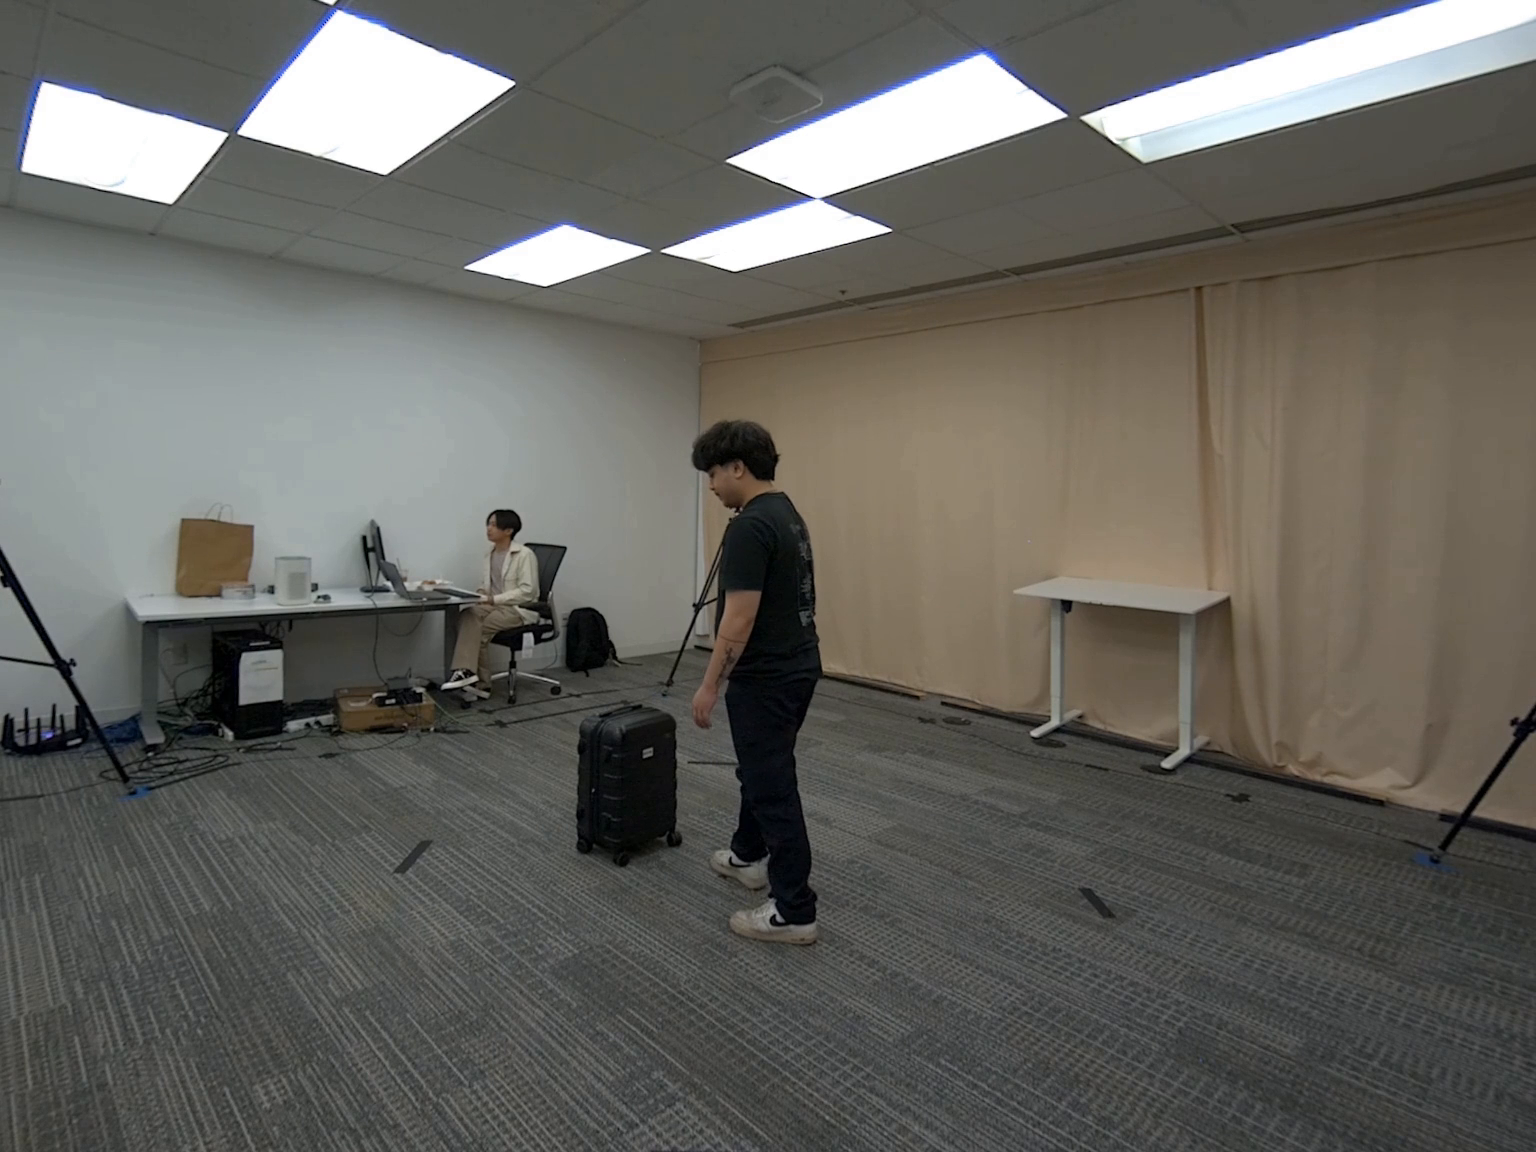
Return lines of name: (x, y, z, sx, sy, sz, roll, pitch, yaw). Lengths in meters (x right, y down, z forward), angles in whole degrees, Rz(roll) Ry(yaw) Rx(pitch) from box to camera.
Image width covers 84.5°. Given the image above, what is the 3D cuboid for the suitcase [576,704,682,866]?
suitcase: (-0.558, 0.802, 3.331, 0.254, 0.548, 0.367, 3, 4, 39)
